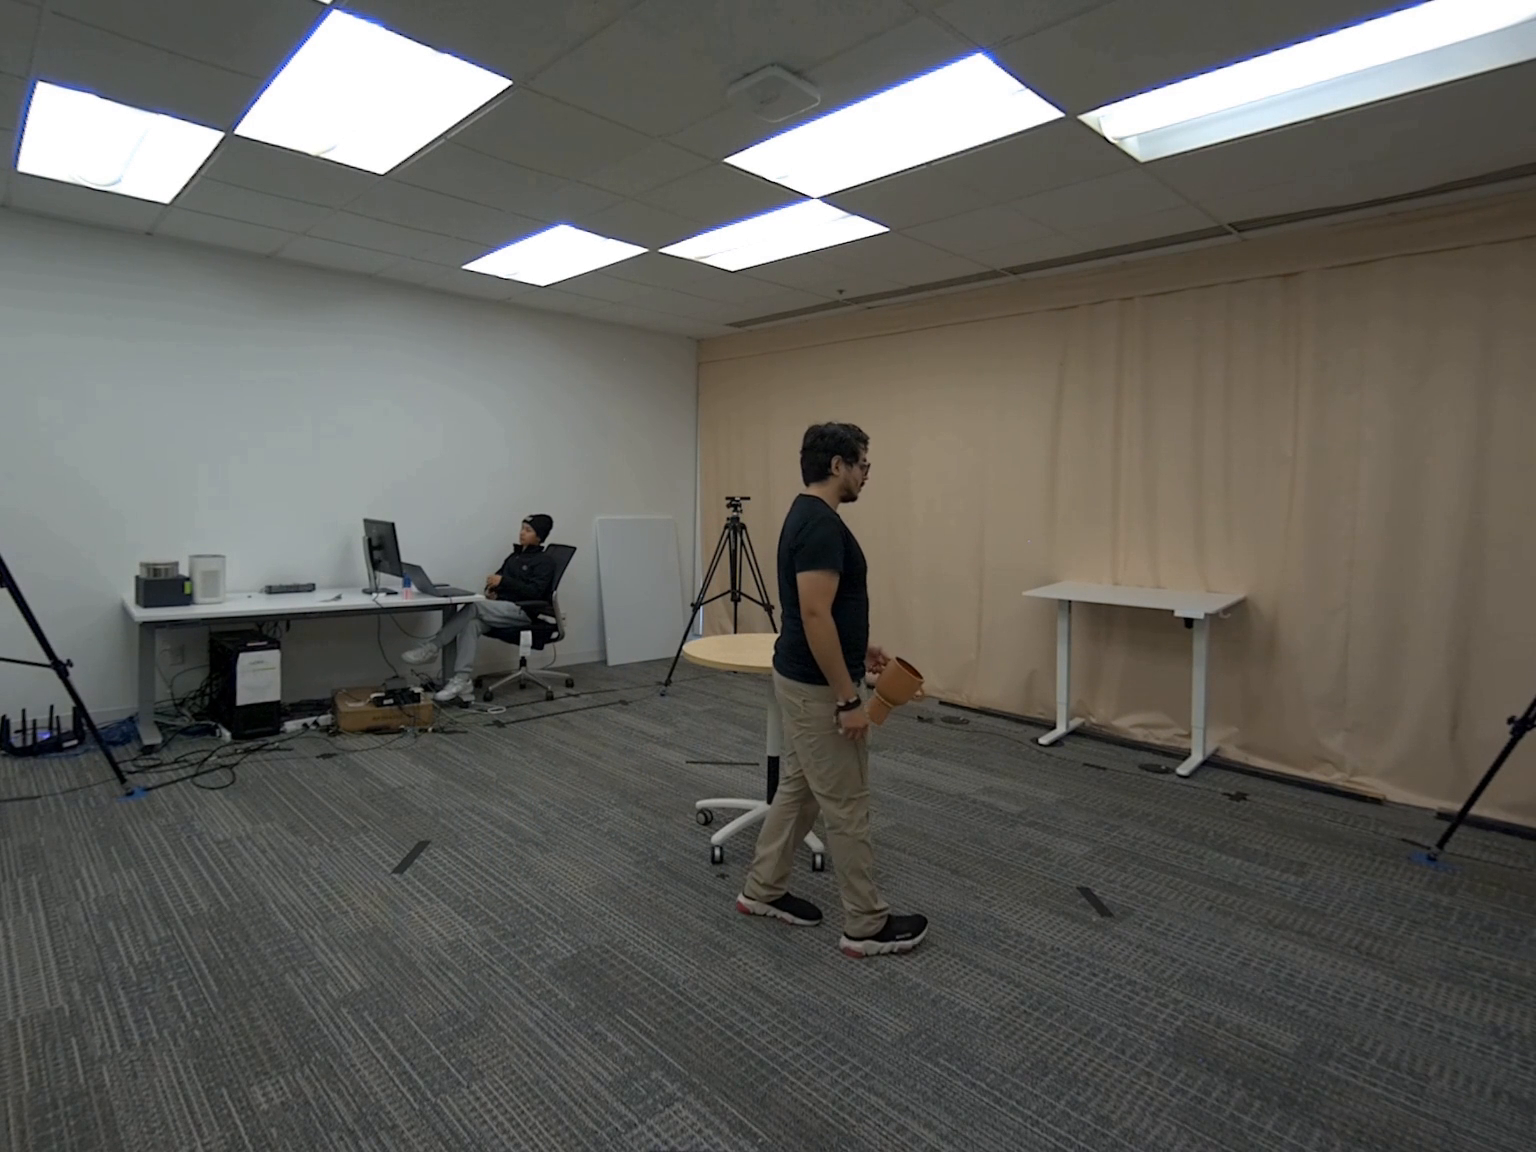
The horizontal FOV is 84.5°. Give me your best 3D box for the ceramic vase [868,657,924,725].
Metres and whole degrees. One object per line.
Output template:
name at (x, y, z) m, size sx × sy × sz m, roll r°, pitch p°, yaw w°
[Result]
ceramic vase at (0.424, 0.404, 2.939) m, size 0.131 × 0.219 × 0.164 m, roll 25°, pitch 16°, yaw -34°
